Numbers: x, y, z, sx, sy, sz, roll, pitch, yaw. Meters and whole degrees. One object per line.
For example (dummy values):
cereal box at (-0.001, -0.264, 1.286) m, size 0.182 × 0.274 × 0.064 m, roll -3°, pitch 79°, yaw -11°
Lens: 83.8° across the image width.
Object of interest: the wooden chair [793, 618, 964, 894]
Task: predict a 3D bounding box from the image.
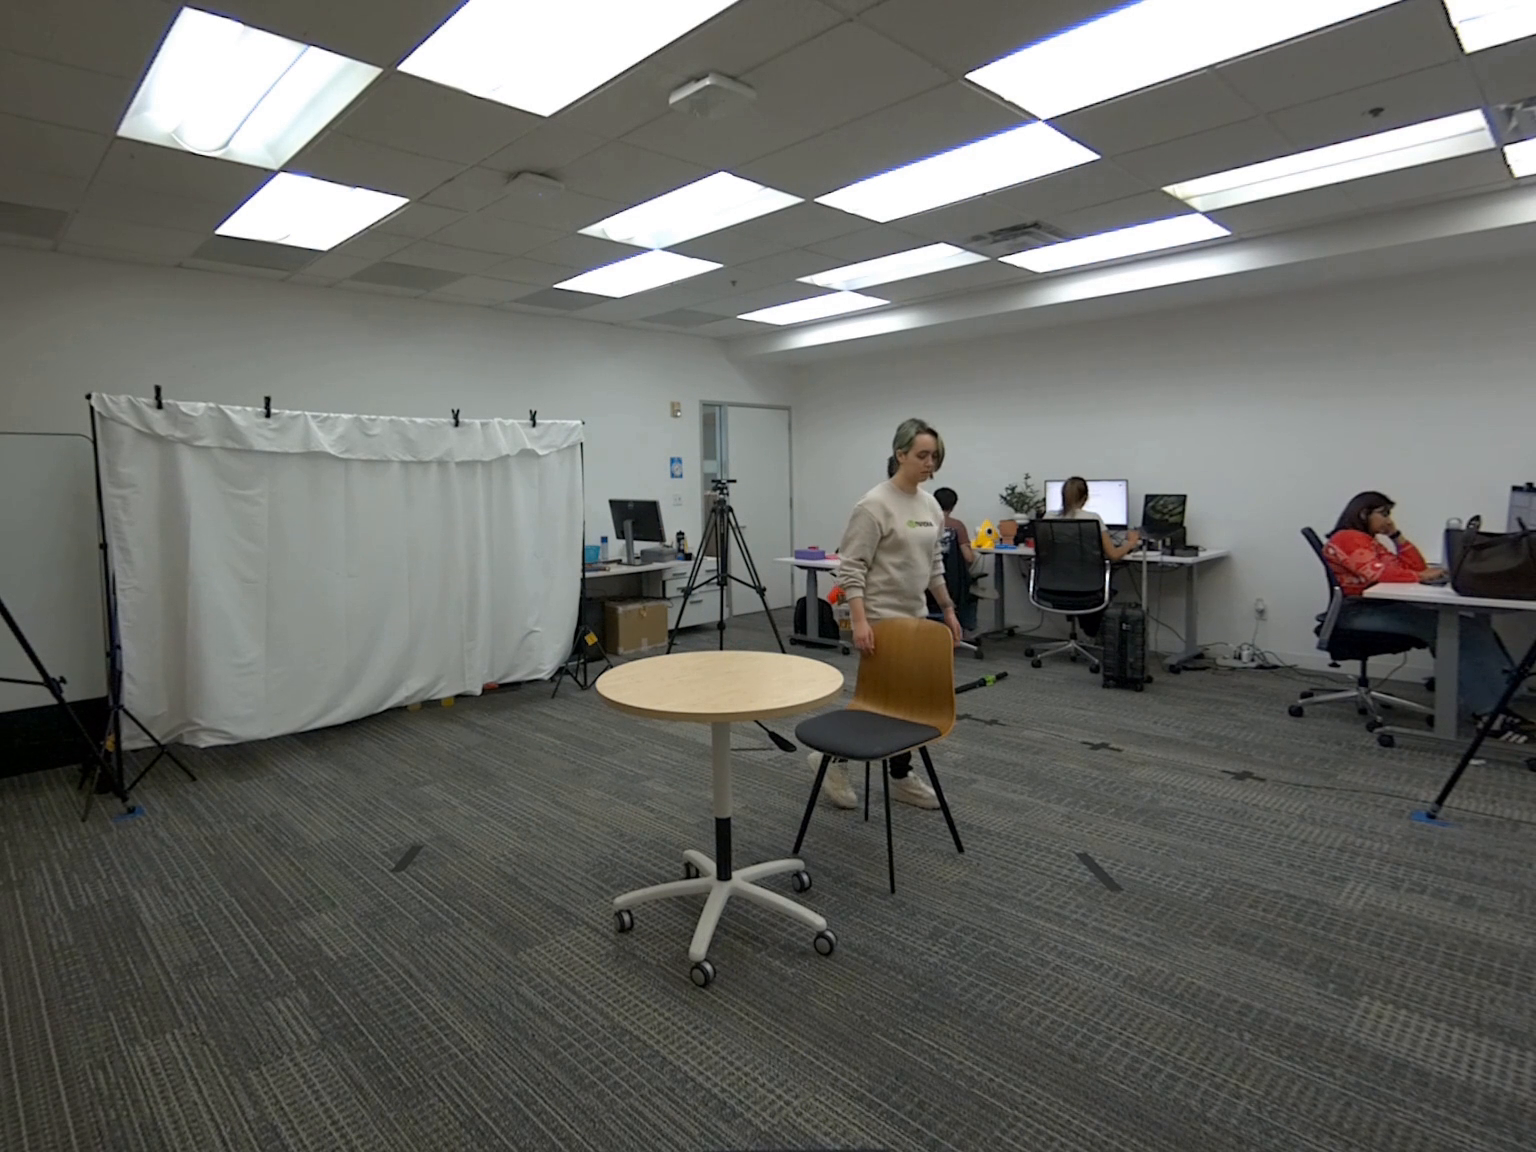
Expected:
wooden chair at (0.397, 0.606, 3.139) m, size 0.508 × 0.877 × 0.493 m, roll 1°, pitch 1°, yaw -45°
